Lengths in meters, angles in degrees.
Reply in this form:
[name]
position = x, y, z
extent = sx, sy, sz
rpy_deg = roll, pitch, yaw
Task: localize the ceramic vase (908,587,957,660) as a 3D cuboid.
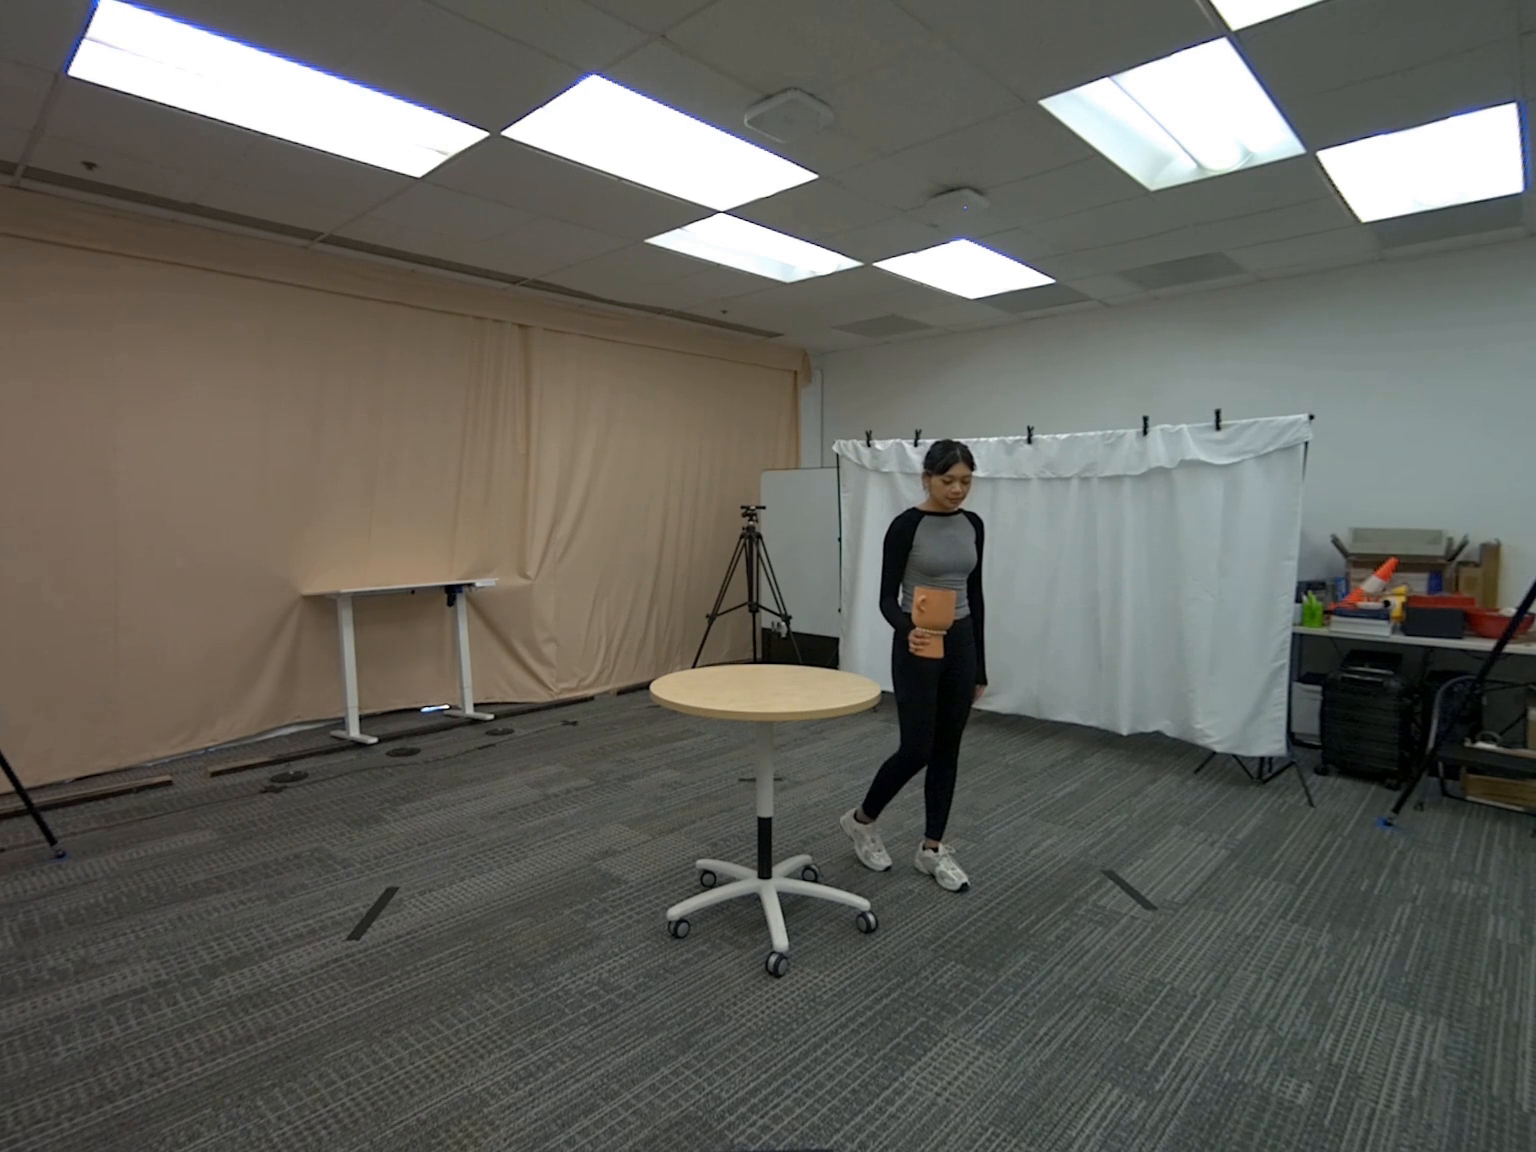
[ceramic vase]
position = 0.537, 0.153, 2.779
extent = 0.158, 0.219, 0.136
rpy_deg = 7, 2, -6
